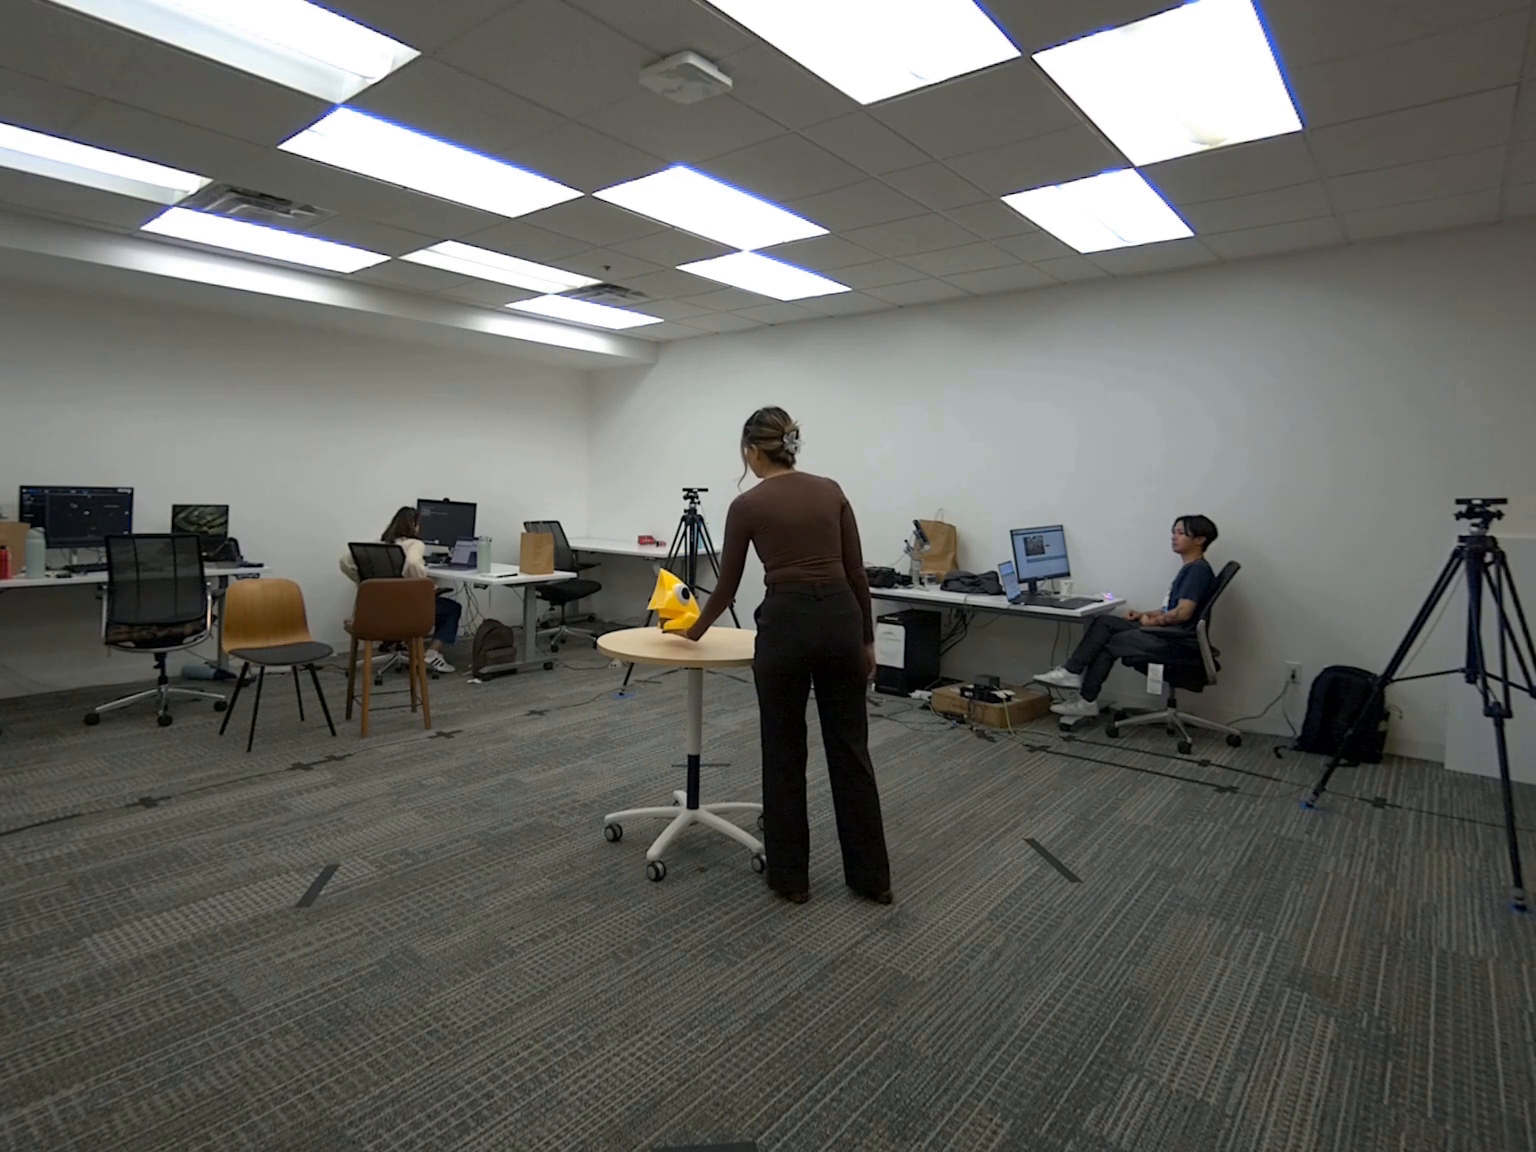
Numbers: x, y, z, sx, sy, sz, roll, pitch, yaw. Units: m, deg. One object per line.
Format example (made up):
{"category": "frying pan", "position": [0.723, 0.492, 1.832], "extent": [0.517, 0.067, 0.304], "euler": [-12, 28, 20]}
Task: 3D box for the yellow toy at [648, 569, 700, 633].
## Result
{"category": "yellow toy", "position": [-0.360, 0.081, 3.256], "extent": [0.189, 0.232, 0.208], "euler": [-3, -4, -25]}
